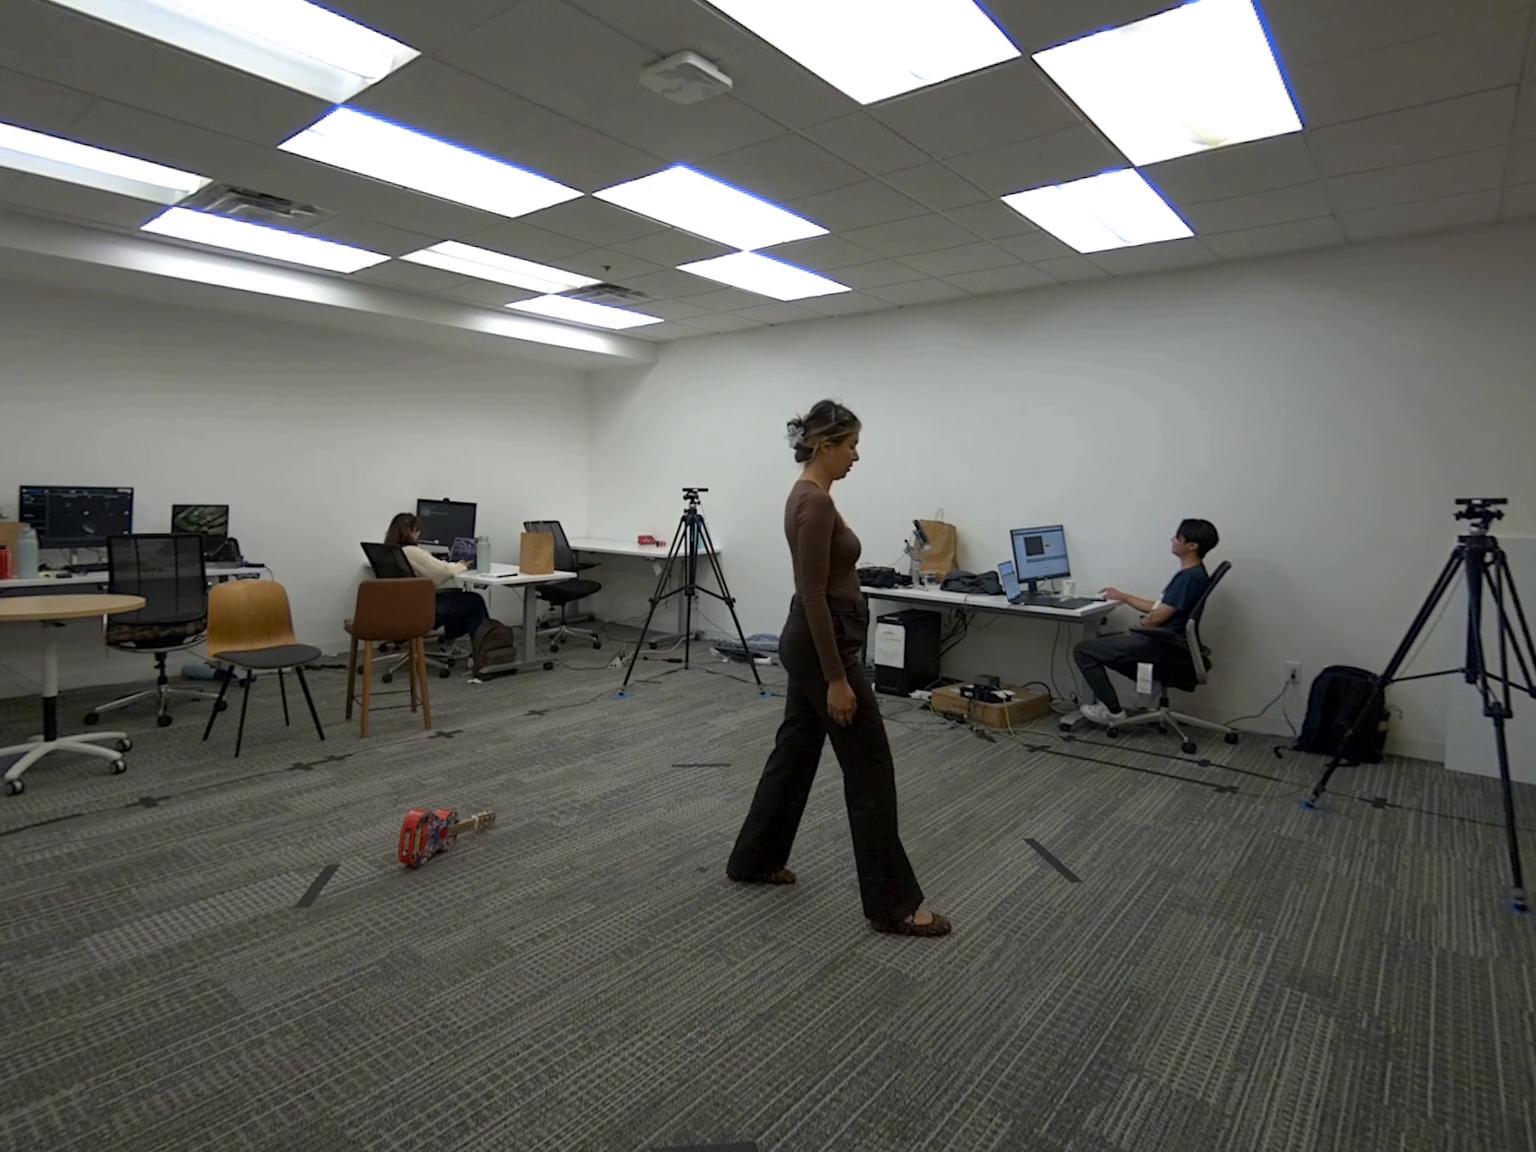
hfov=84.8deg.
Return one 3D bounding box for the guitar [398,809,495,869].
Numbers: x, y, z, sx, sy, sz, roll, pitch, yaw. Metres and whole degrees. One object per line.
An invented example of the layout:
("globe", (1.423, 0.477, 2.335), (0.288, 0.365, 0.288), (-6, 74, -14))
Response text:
("guitar", (-1.239, 1.000, 3.268), (0.072, 0.195, 0.482), (3, -13, 18))
